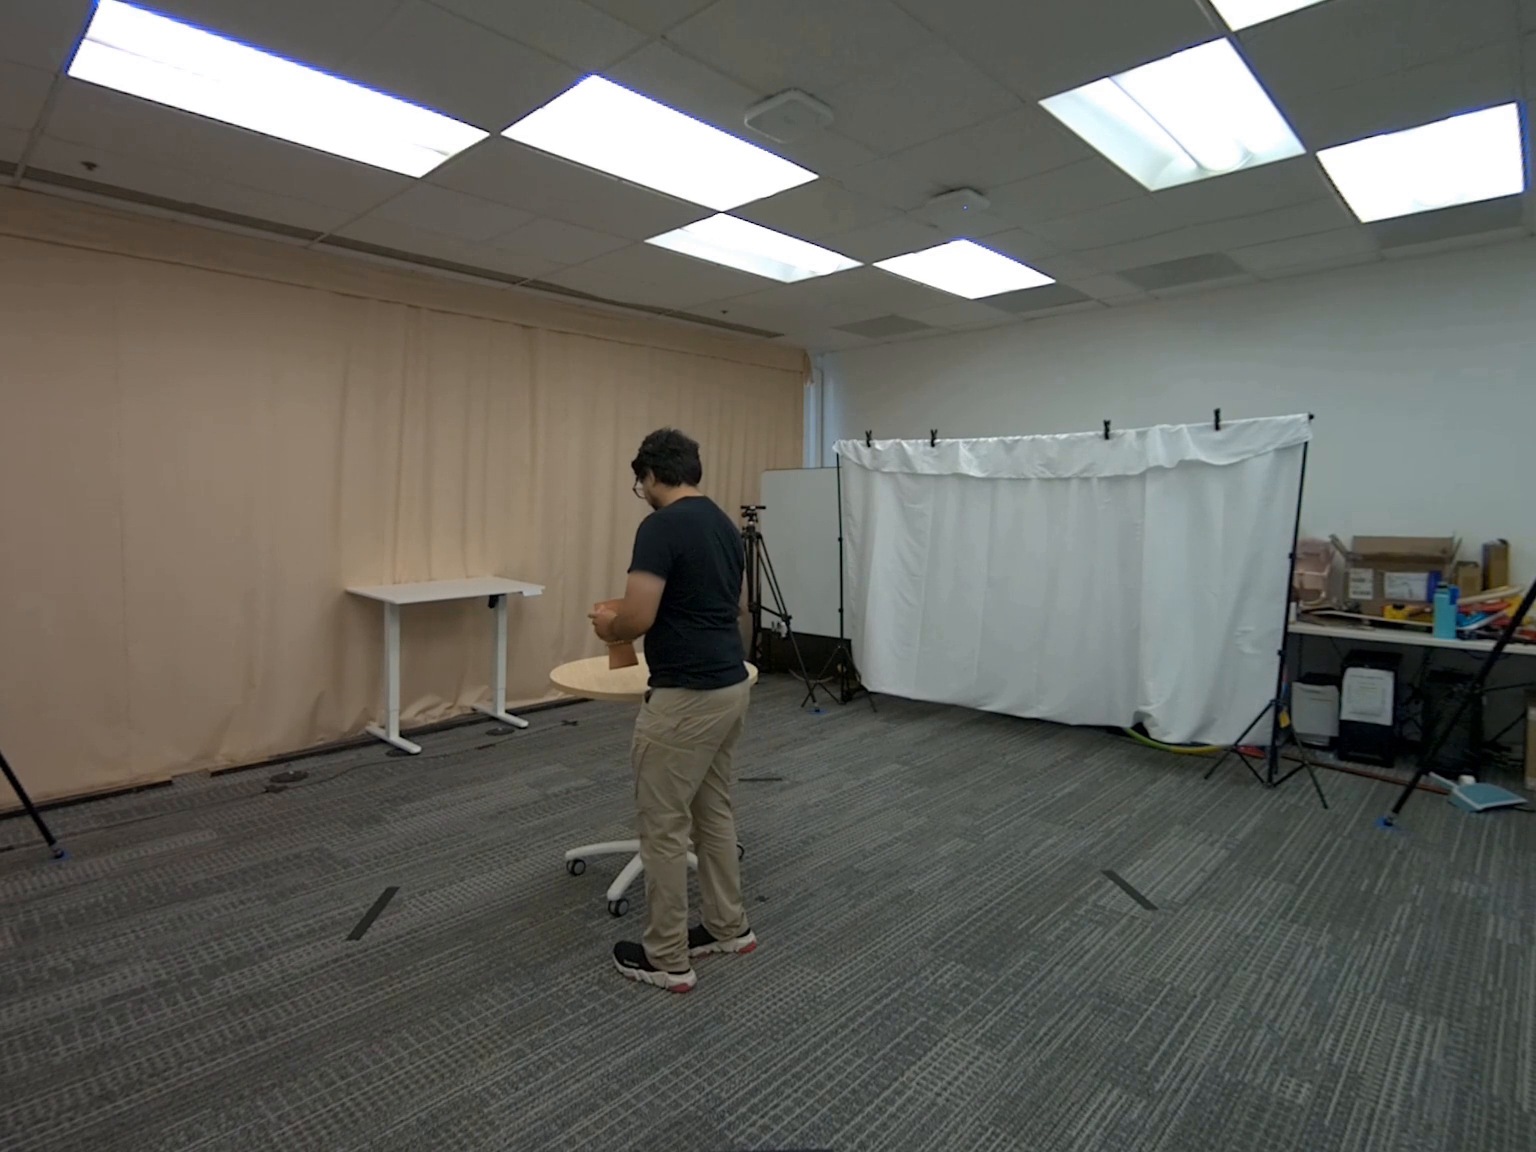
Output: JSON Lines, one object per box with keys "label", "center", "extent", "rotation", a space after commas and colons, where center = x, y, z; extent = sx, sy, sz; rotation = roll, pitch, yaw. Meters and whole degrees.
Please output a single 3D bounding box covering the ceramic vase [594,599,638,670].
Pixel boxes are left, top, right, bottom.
{"label": "ceramic vase", "center": [-0.480, 0.192, 2.722], "extent": [0.155, 0.221, 0.137], "rotation": [-8, -6, -23]}
